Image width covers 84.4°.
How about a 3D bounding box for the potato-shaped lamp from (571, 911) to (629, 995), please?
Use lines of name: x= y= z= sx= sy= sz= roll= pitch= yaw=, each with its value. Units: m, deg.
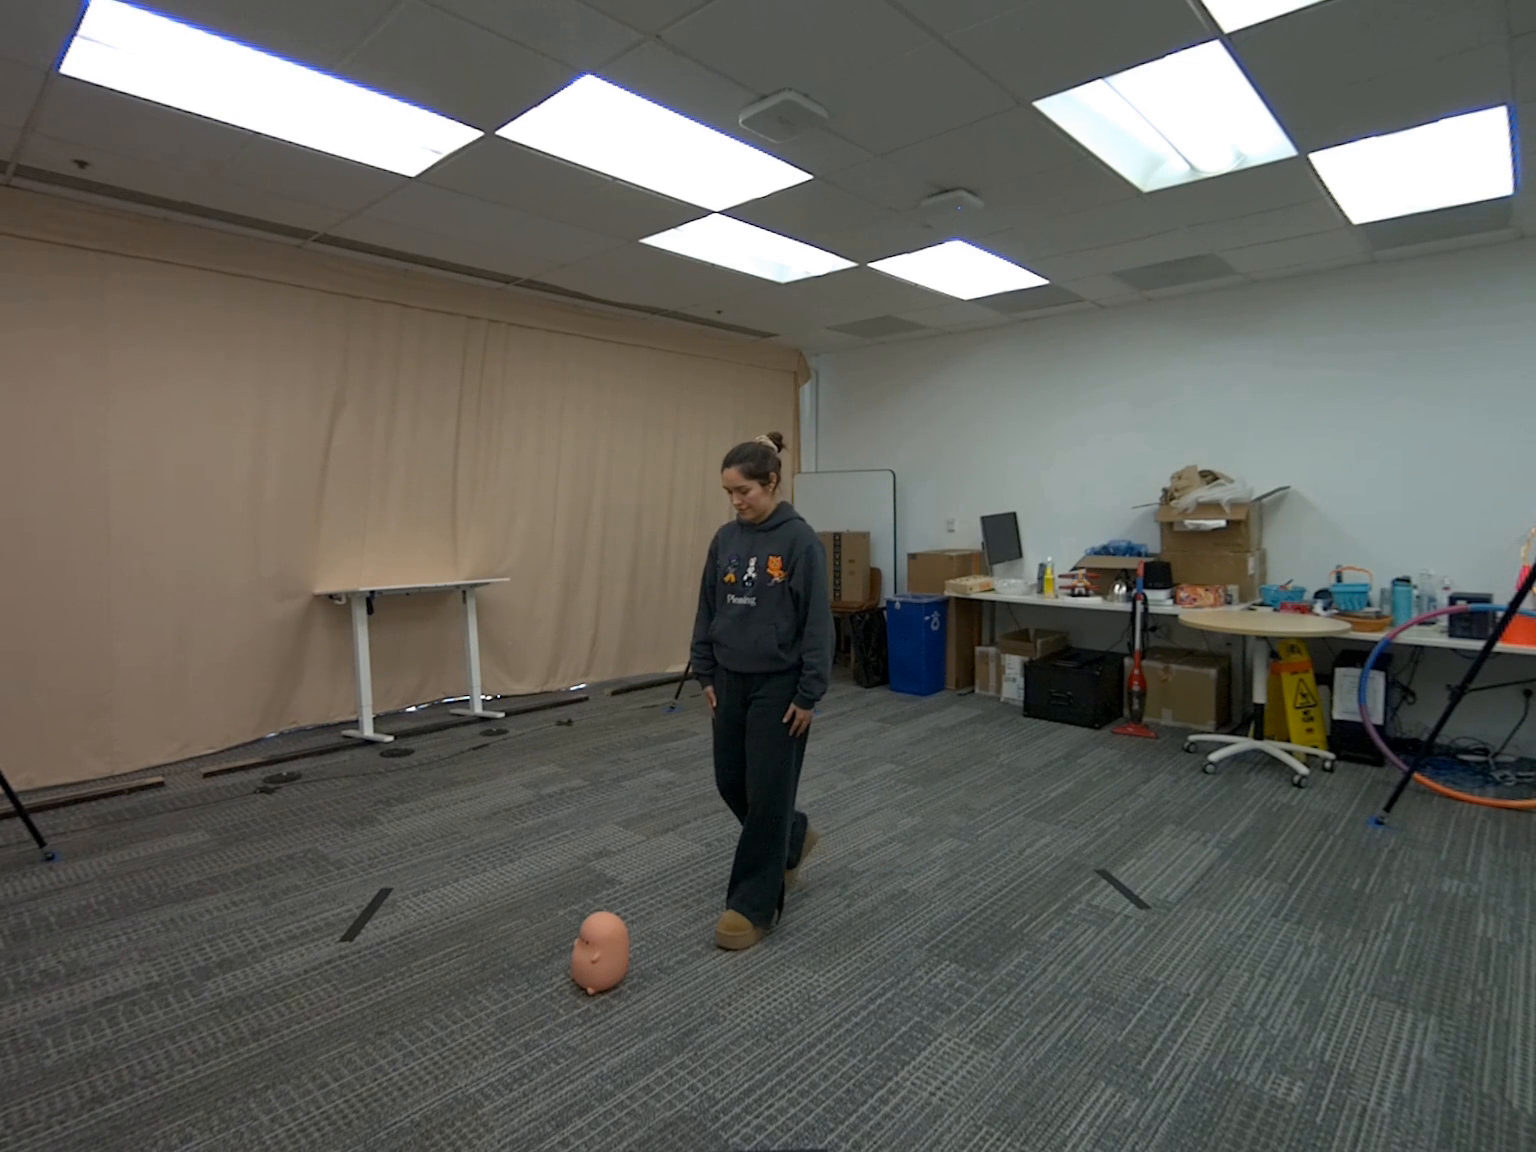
potato-shaped lamp: x=-0.475 y=1.098 z=2.467 sx=0.166 sy=0.197 sz=0.170 roll=-6 pitch=5 yaw=-41
